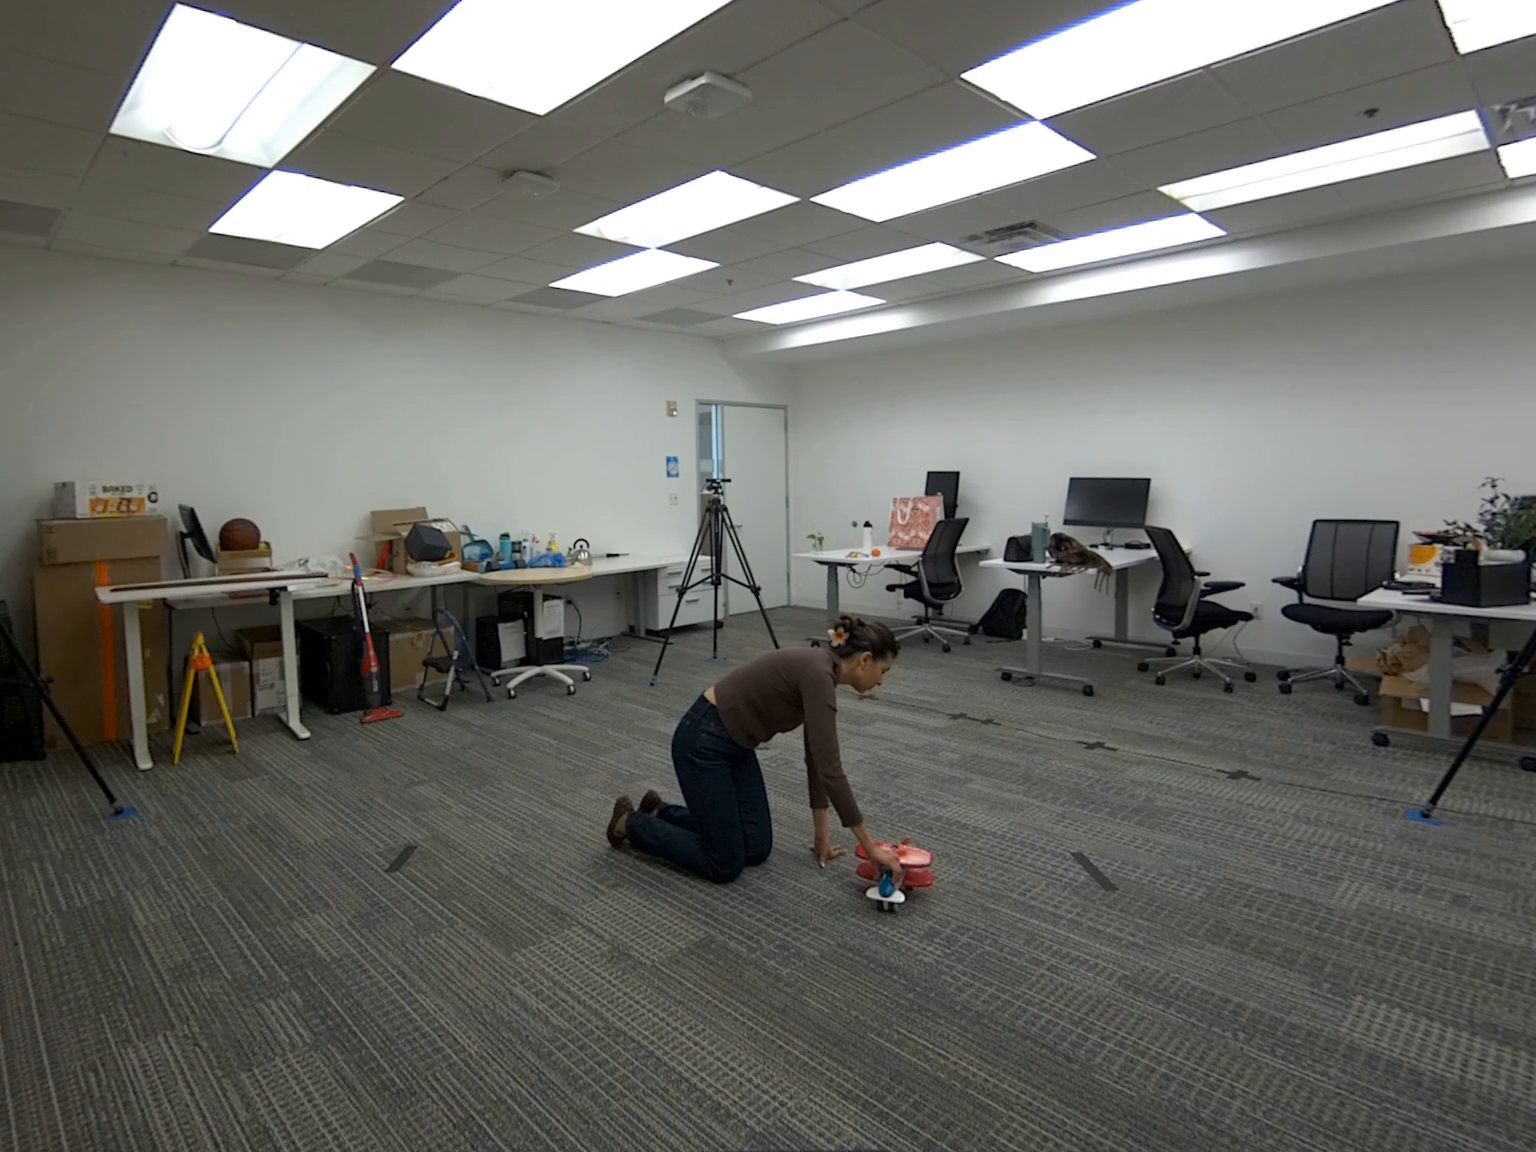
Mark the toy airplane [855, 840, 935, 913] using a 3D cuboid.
[{"bbox_3d":[0.428,0.988,2.823,0.249,0.156,0.262,-3,5,-8],"label":"toy airplane"}]
